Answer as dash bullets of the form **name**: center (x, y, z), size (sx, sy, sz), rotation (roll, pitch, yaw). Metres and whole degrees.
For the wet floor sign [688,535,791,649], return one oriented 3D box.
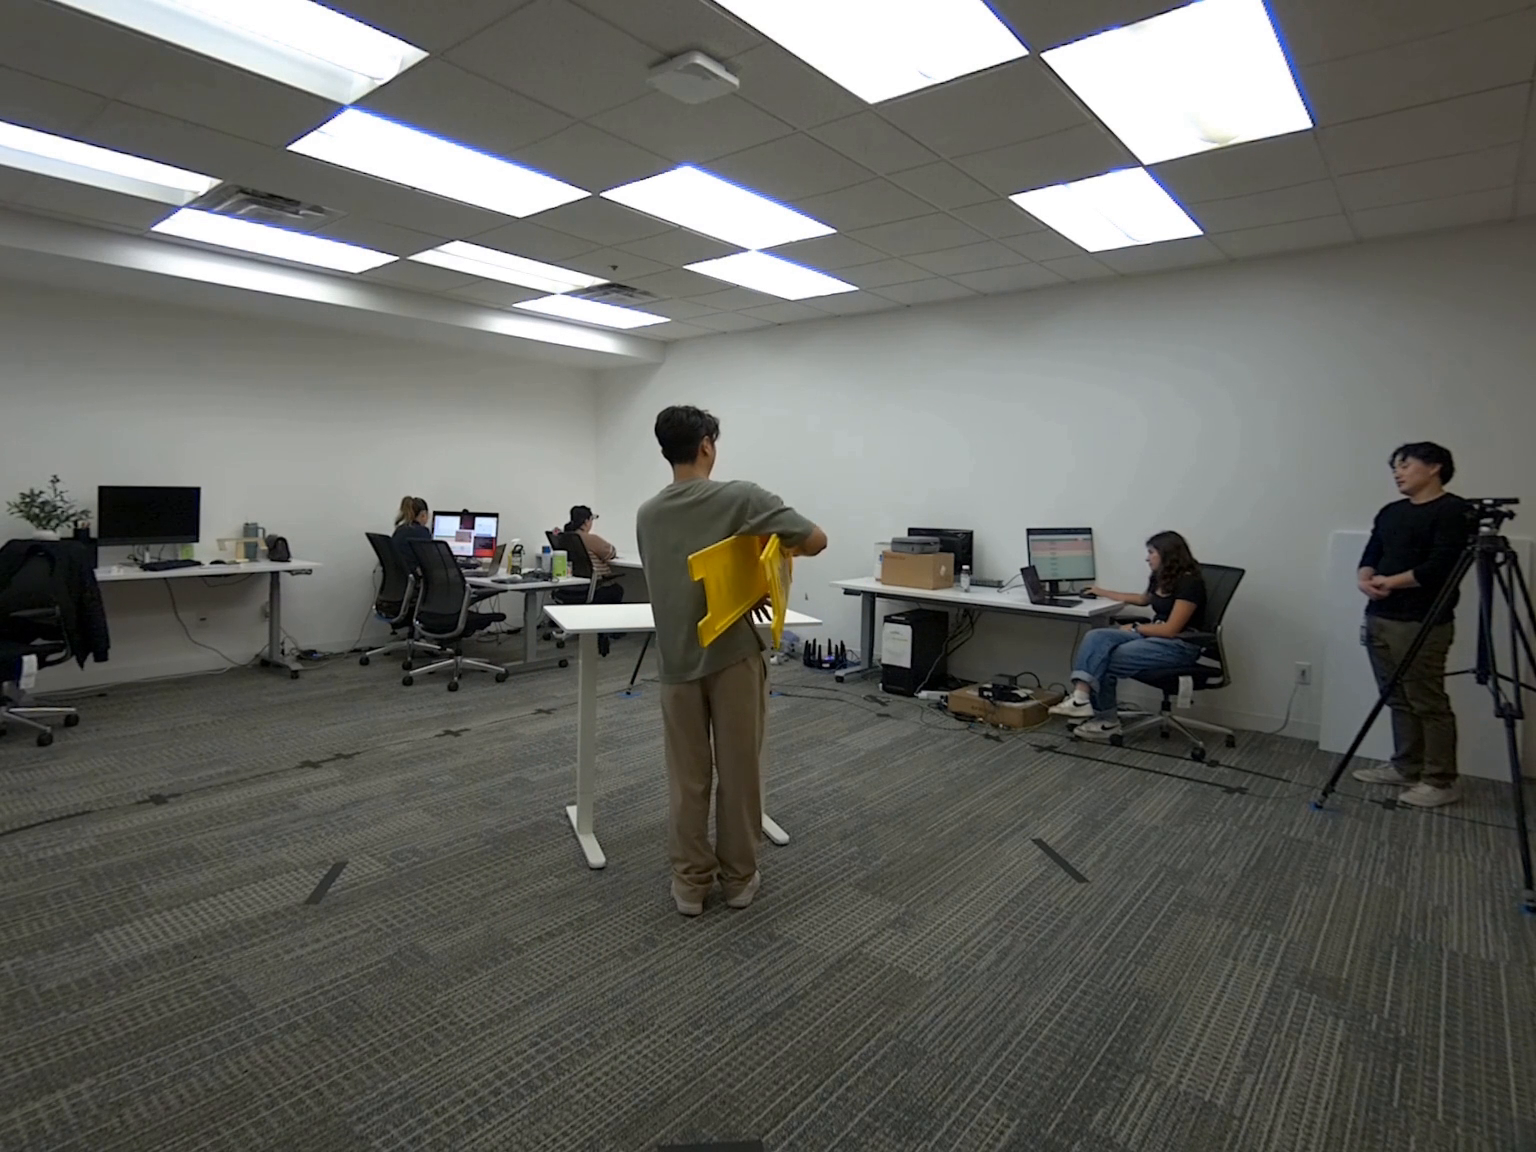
- **wet floor sign**: center (-0.025, -0.010, 2.732), size (0.295, 0.278, 0.645), rotation (-4, 17, 17)
